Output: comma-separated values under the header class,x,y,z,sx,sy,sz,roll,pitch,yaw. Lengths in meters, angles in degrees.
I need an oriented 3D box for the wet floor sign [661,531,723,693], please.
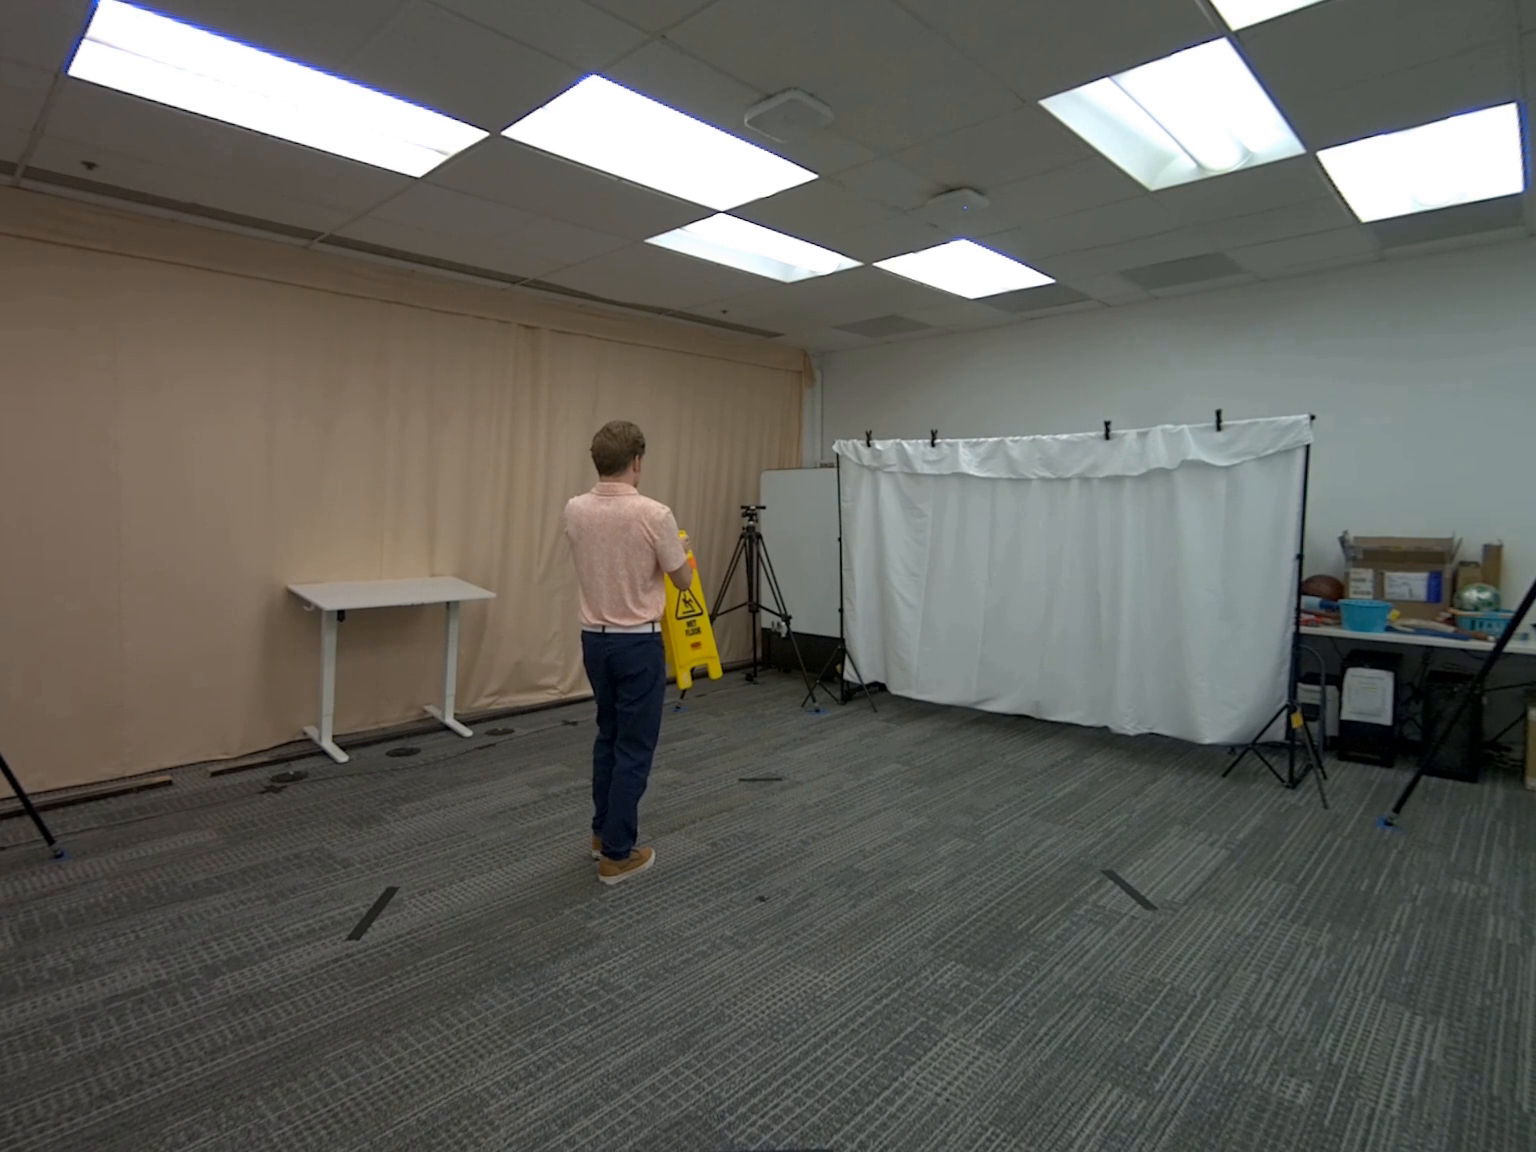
class,x,y,z,sx,sy,sz,roll,pitch,yaw
wet floor sign,-0.404,0.134,3.651,0.299,0.645,0.274,-1,3,37
